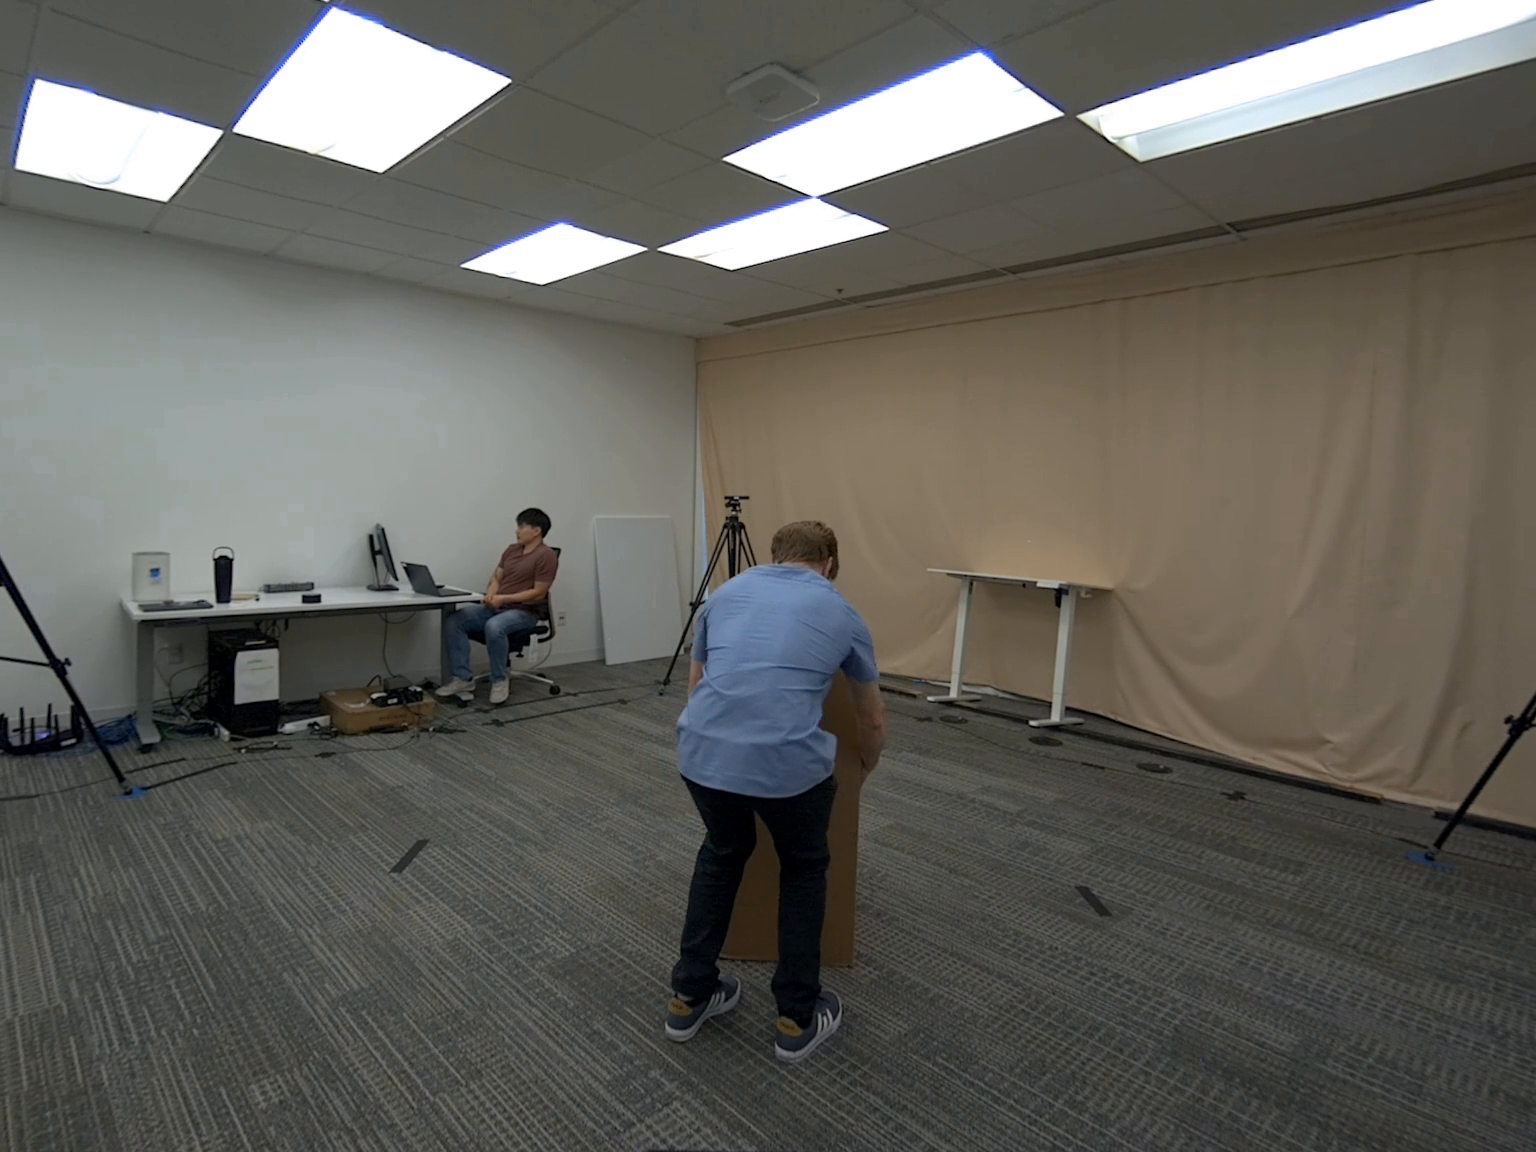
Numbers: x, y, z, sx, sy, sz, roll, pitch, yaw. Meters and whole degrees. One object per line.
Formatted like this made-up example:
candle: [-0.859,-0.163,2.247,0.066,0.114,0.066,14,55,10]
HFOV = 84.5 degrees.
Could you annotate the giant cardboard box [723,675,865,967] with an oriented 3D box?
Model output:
giant cardboard box: [0.067,0.633,2.779,0.427,1.023,0.577,2,3,2]
